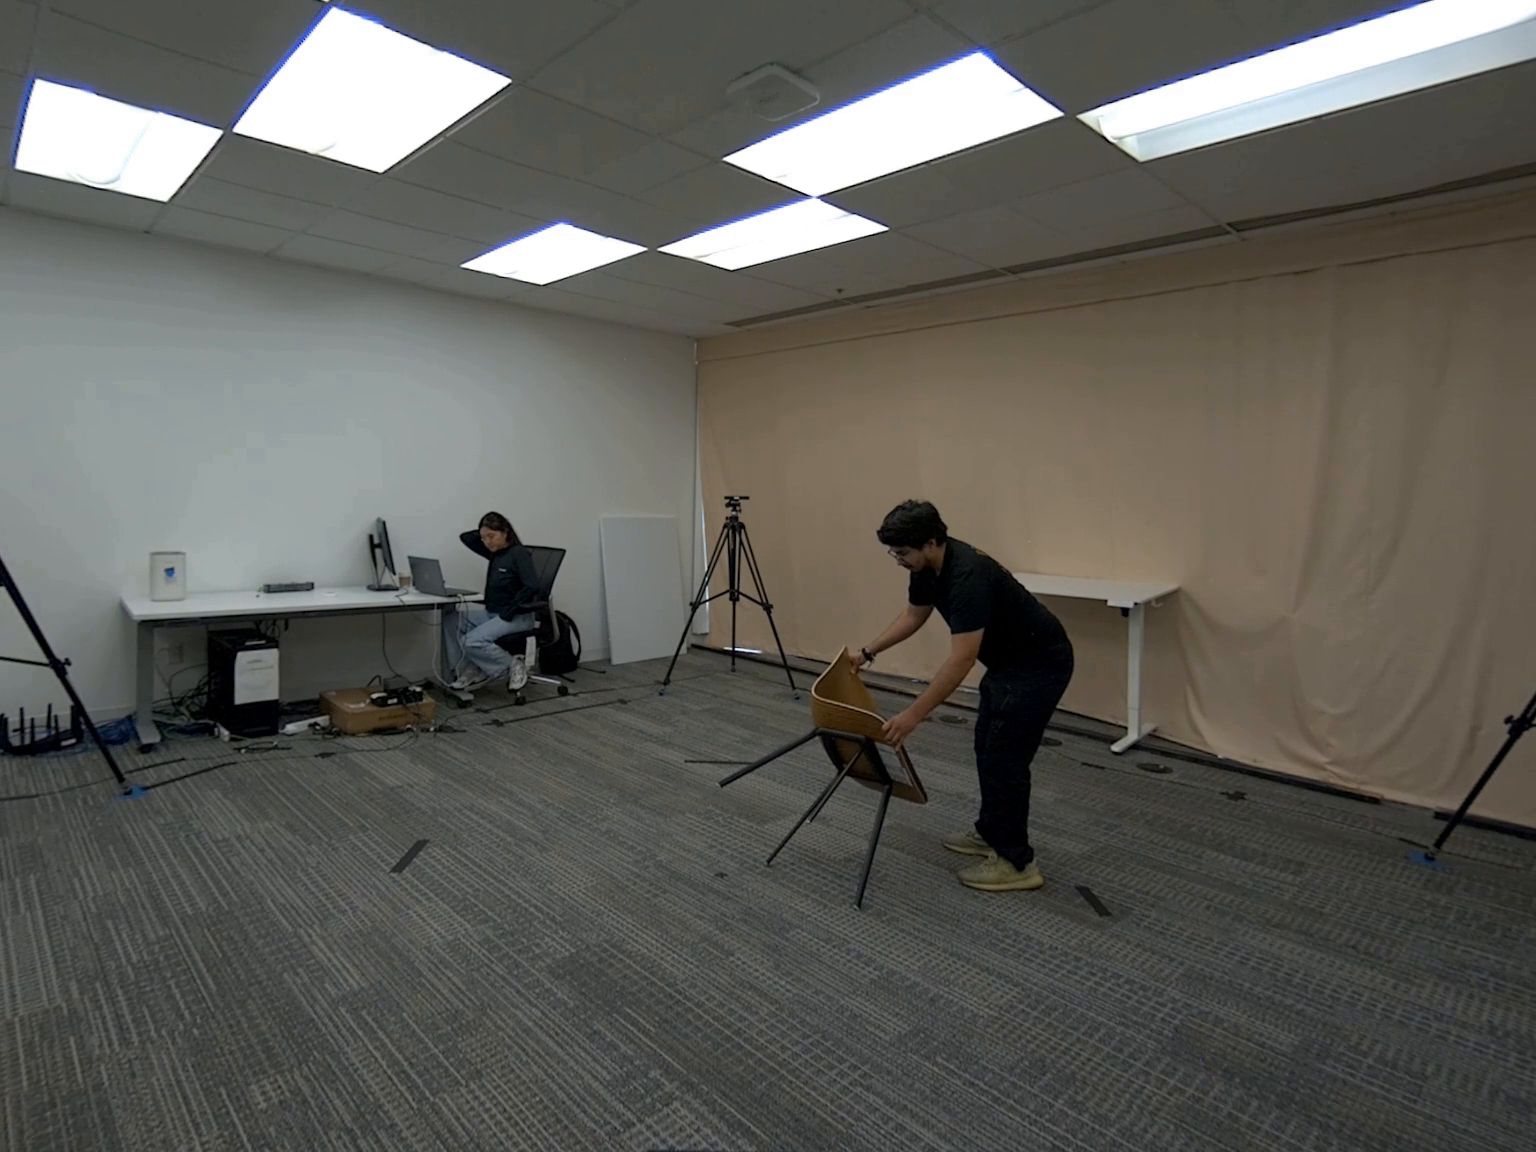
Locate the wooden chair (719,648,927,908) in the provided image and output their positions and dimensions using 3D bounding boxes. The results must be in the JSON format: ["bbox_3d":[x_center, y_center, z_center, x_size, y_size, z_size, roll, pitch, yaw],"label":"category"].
[{"bbox_3d":[0.315,0.680,3.148,0.536,0.467,0.877,1,38,43],"label":"wooden chair"}]
